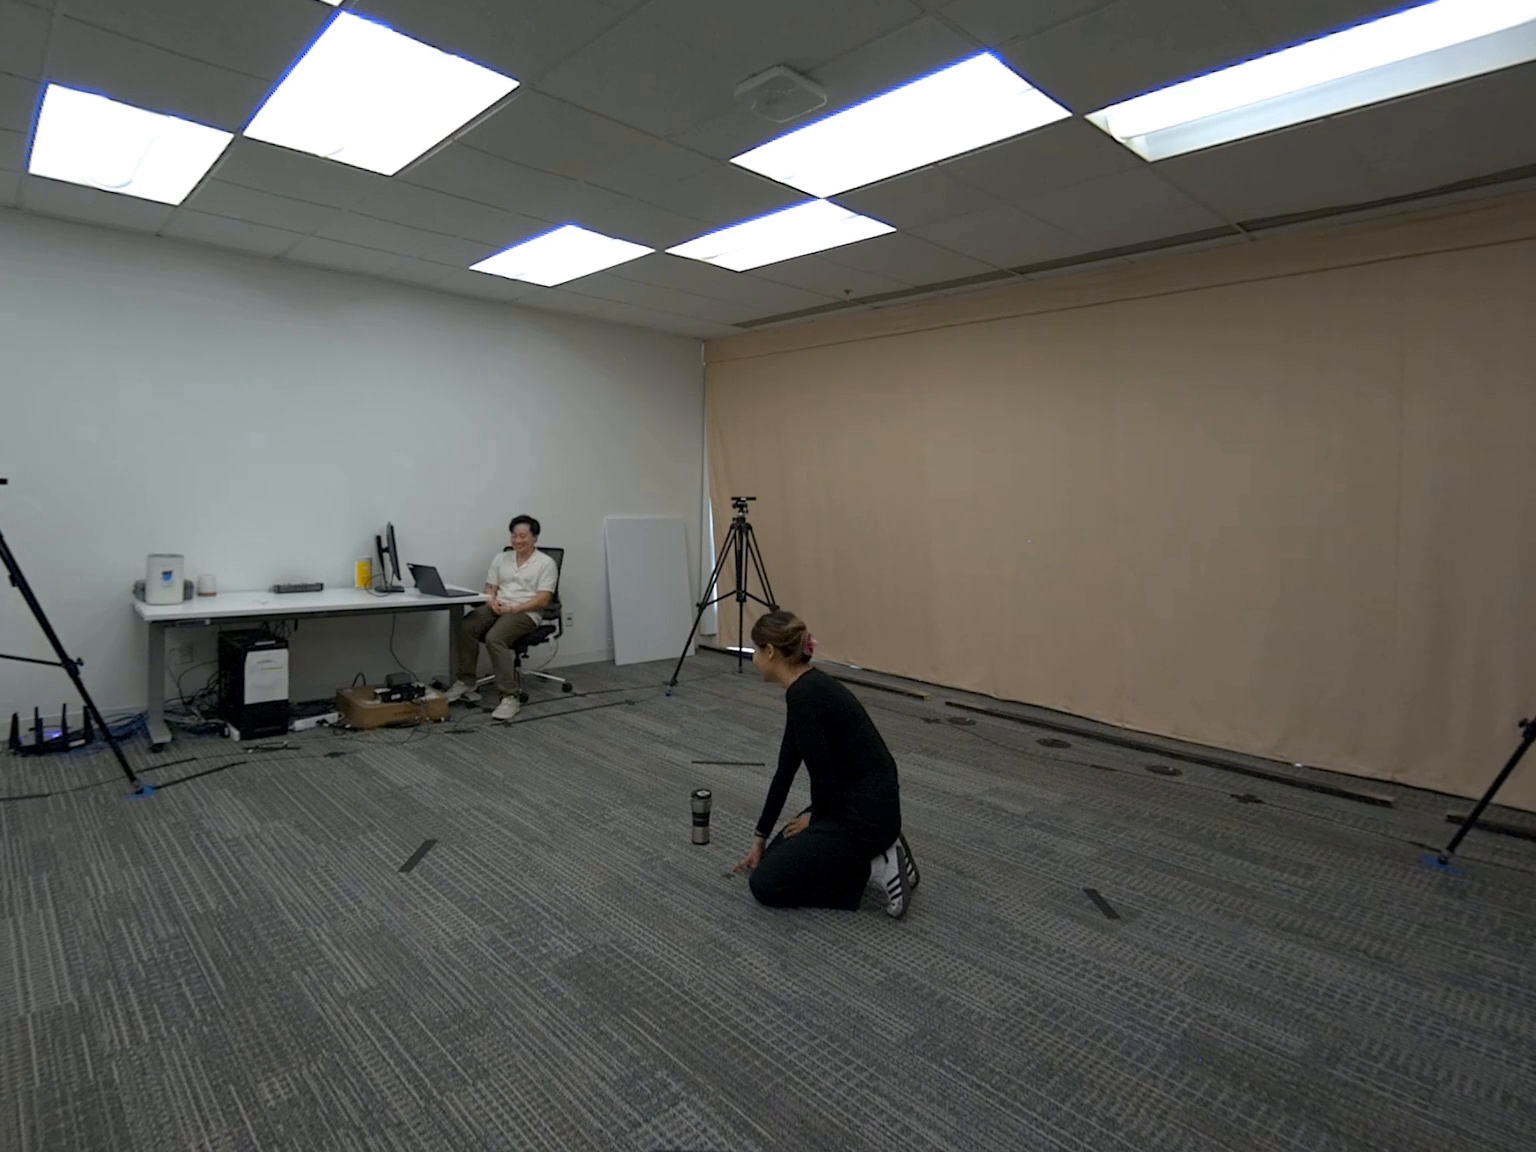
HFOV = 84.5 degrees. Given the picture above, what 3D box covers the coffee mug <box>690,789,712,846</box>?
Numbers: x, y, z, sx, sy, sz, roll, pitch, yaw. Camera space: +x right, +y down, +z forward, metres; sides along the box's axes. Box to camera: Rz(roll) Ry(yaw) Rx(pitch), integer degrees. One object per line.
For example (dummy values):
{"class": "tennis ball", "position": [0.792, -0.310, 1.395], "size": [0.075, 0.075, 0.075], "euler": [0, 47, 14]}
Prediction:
{"class": "coffee mug", "position": [-0.269, 0.978, 3.416], "size": [0.090, 0.202, 0.120], "euler": [-1, 5, 34]}
